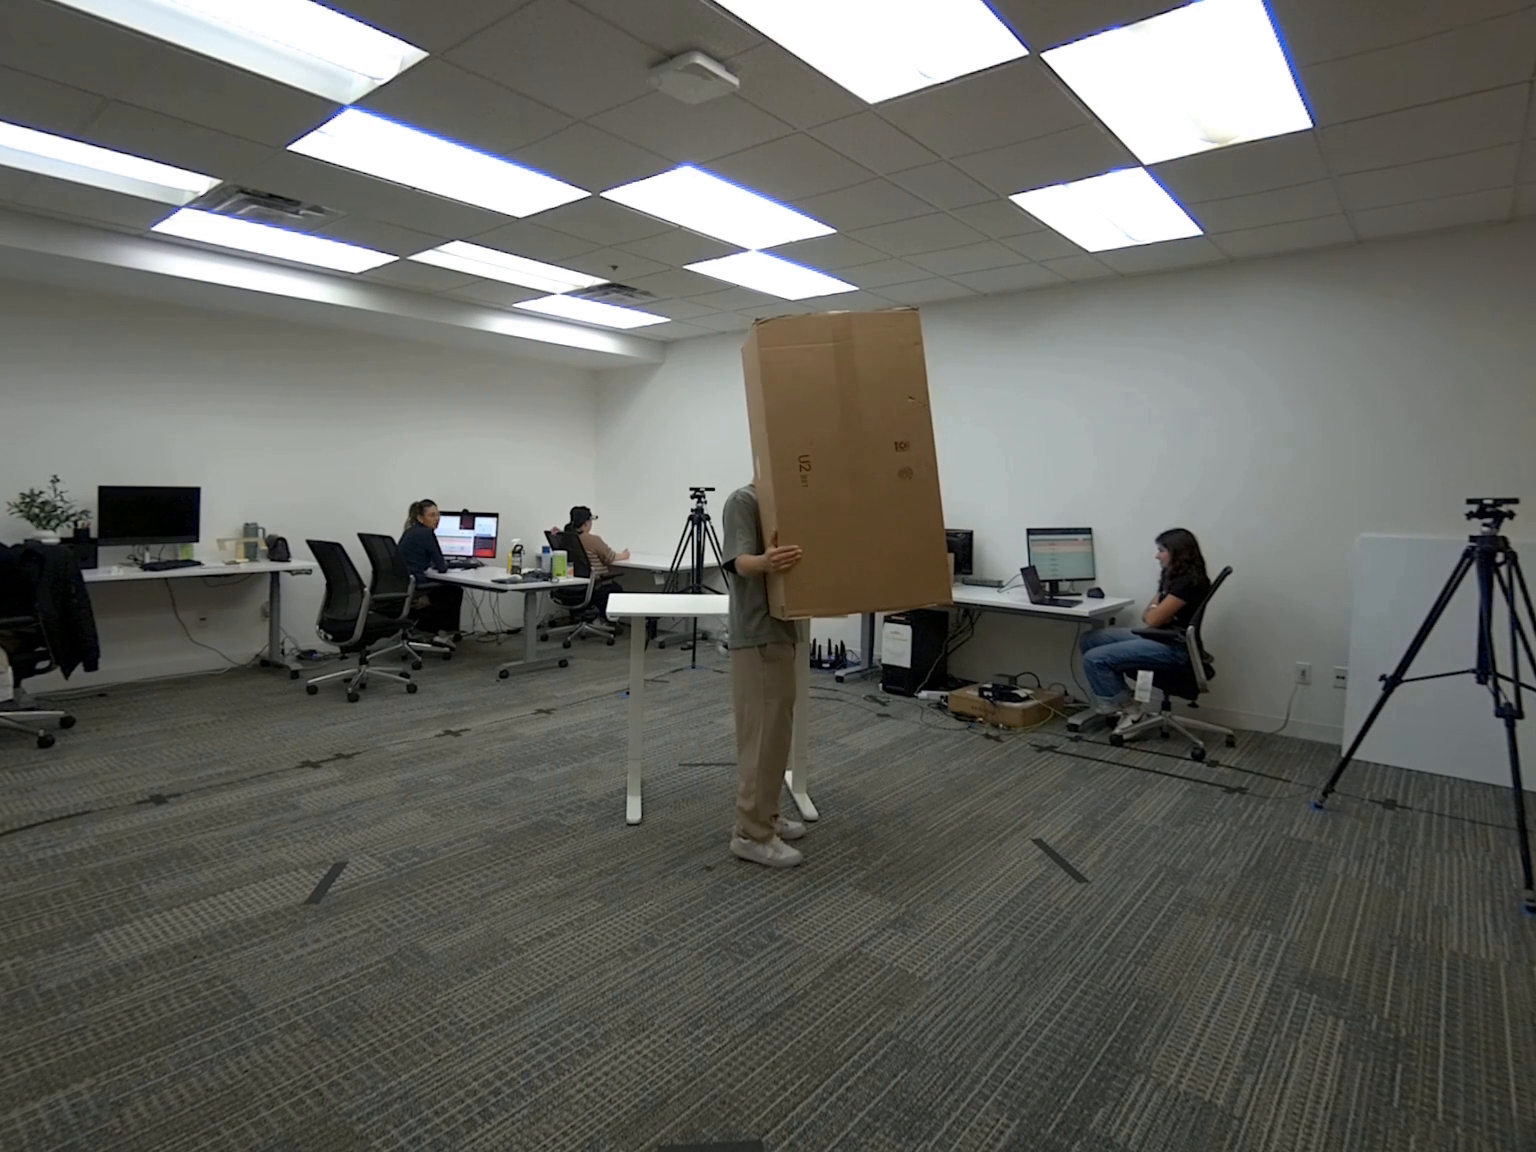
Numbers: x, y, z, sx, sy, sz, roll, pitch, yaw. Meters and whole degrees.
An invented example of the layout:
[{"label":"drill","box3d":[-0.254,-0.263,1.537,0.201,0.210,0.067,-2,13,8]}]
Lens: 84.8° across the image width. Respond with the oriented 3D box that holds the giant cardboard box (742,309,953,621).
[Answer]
[{"label":"giant cardboard box","box3d":[0.256,-0.384,3.060,0.574,1.028,0.428,-6,-2,-6]}]
